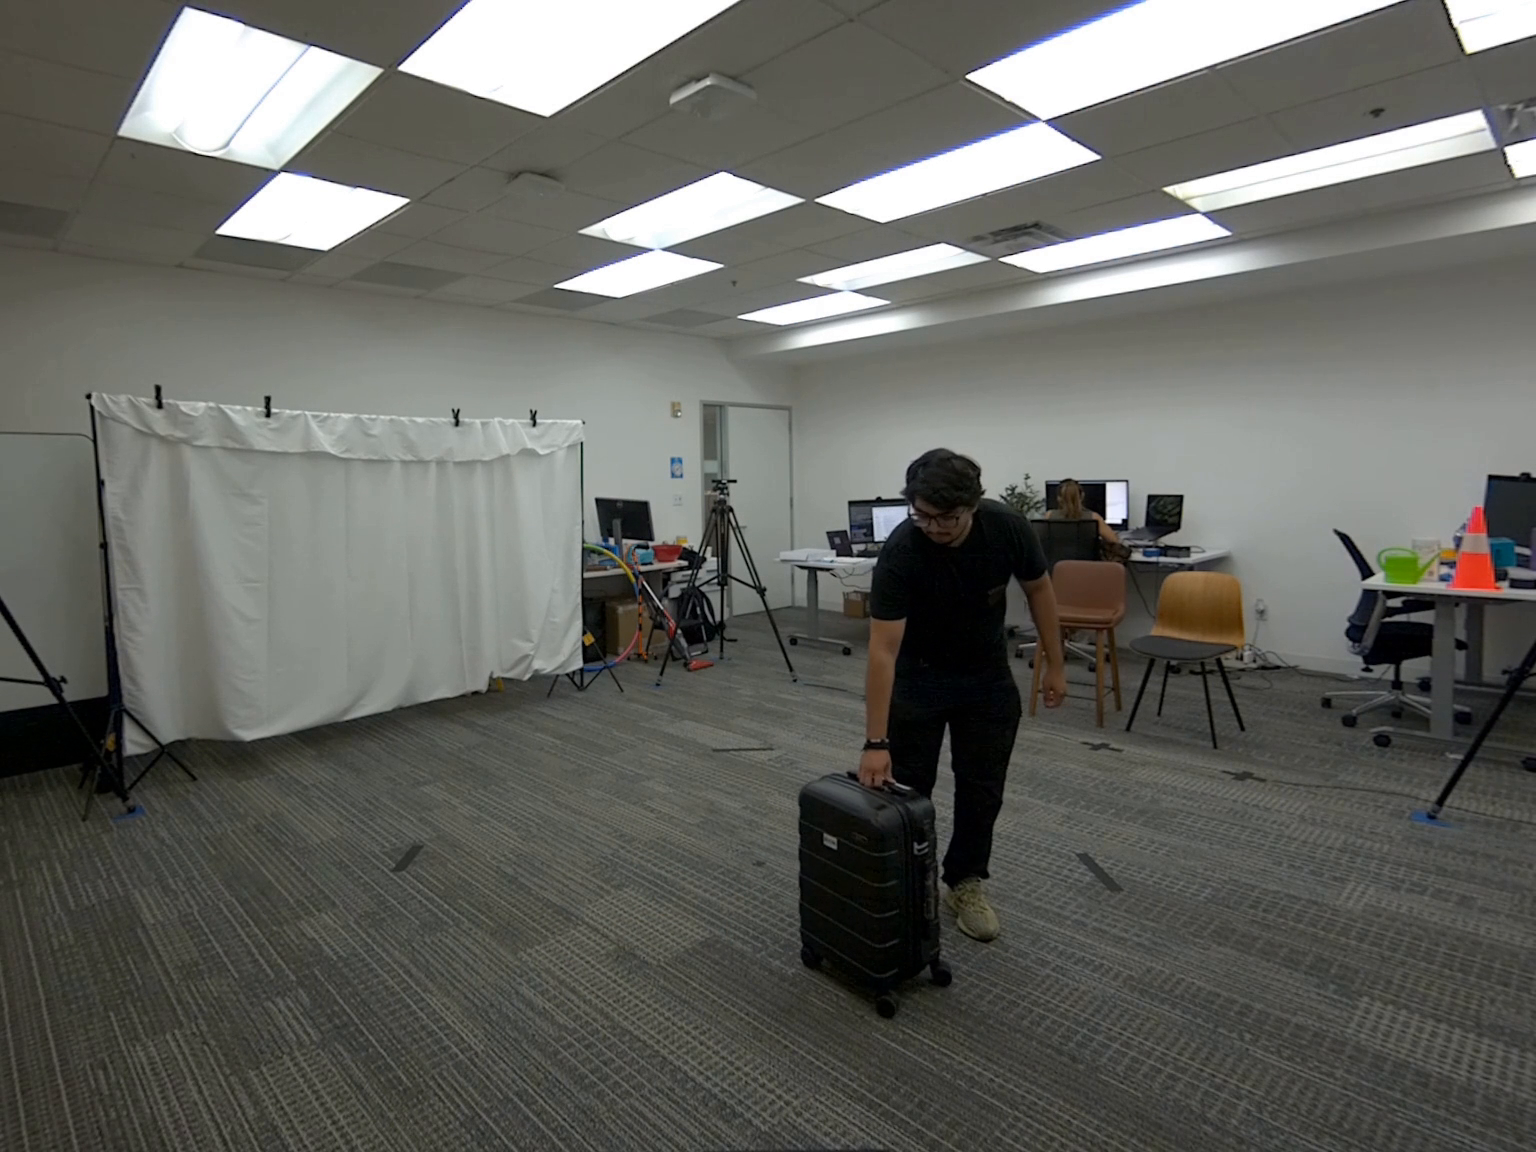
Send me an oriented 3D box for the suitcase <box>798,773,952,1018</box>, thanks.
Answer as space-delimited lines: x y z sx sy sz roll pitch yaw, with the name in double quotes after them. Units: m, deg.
0.285 0.849 2.400 0.242 0.548 0.386 -6 4 -38 "suitcase"
